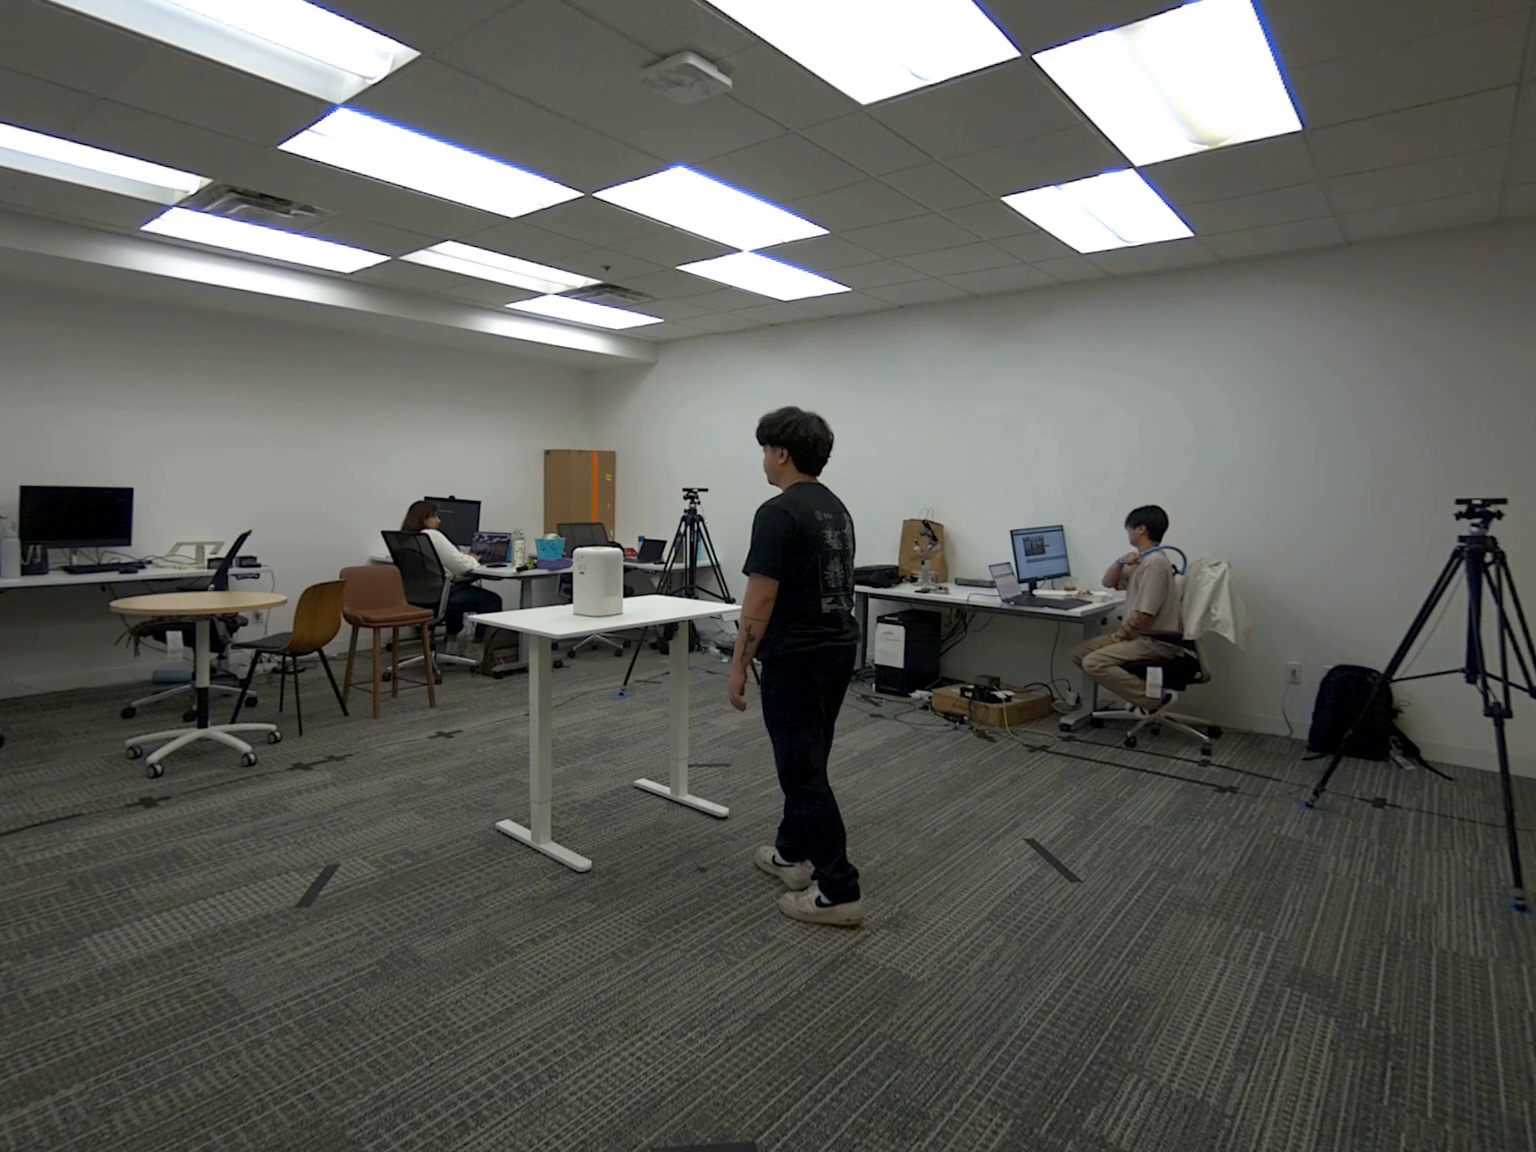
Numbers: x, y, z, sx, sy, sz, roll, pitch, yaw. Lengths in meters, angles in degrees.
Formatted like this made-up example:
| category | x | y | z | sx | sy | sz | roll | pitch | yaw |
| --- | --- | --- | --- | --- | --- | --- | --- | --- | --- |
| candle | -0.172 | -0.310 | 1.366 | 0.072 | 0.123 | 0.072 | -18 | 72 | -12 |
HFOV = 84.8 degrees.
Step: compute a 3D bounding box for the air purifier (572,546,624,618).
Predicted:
| category | x | y | z | sx | sy | sz | roll | pitch | yaw |
| --- | --- | --- | --- | --- | --- | --- | --- | --- | --- |
| air purifier | -0.695 | 0.016 | 3.421 | 0.176 | 0.265 | 0.166 | 3 | 4 | 37 |
